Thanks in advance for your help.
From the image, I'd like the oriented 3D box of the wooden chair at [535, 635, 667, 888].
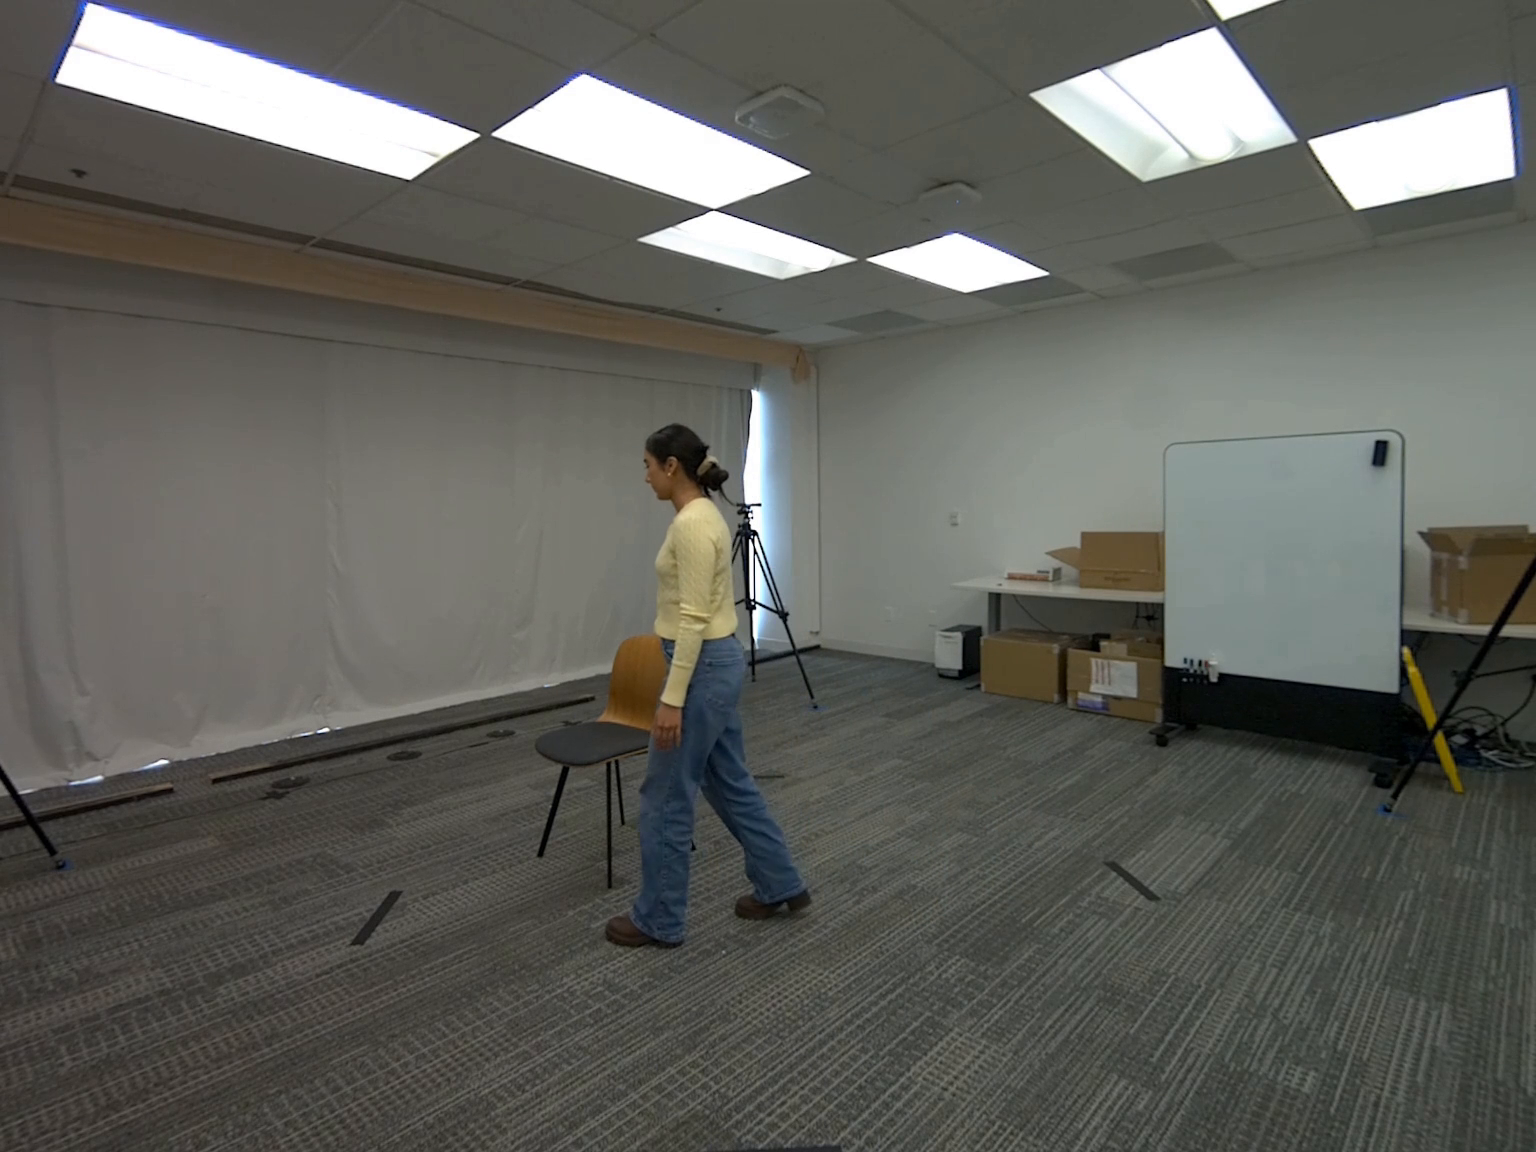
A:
[{"bbox_3d":[-0.618,0.690,3.348,0.494,0.877,0.506,2,0,41],"label":"wooden chair"}]
